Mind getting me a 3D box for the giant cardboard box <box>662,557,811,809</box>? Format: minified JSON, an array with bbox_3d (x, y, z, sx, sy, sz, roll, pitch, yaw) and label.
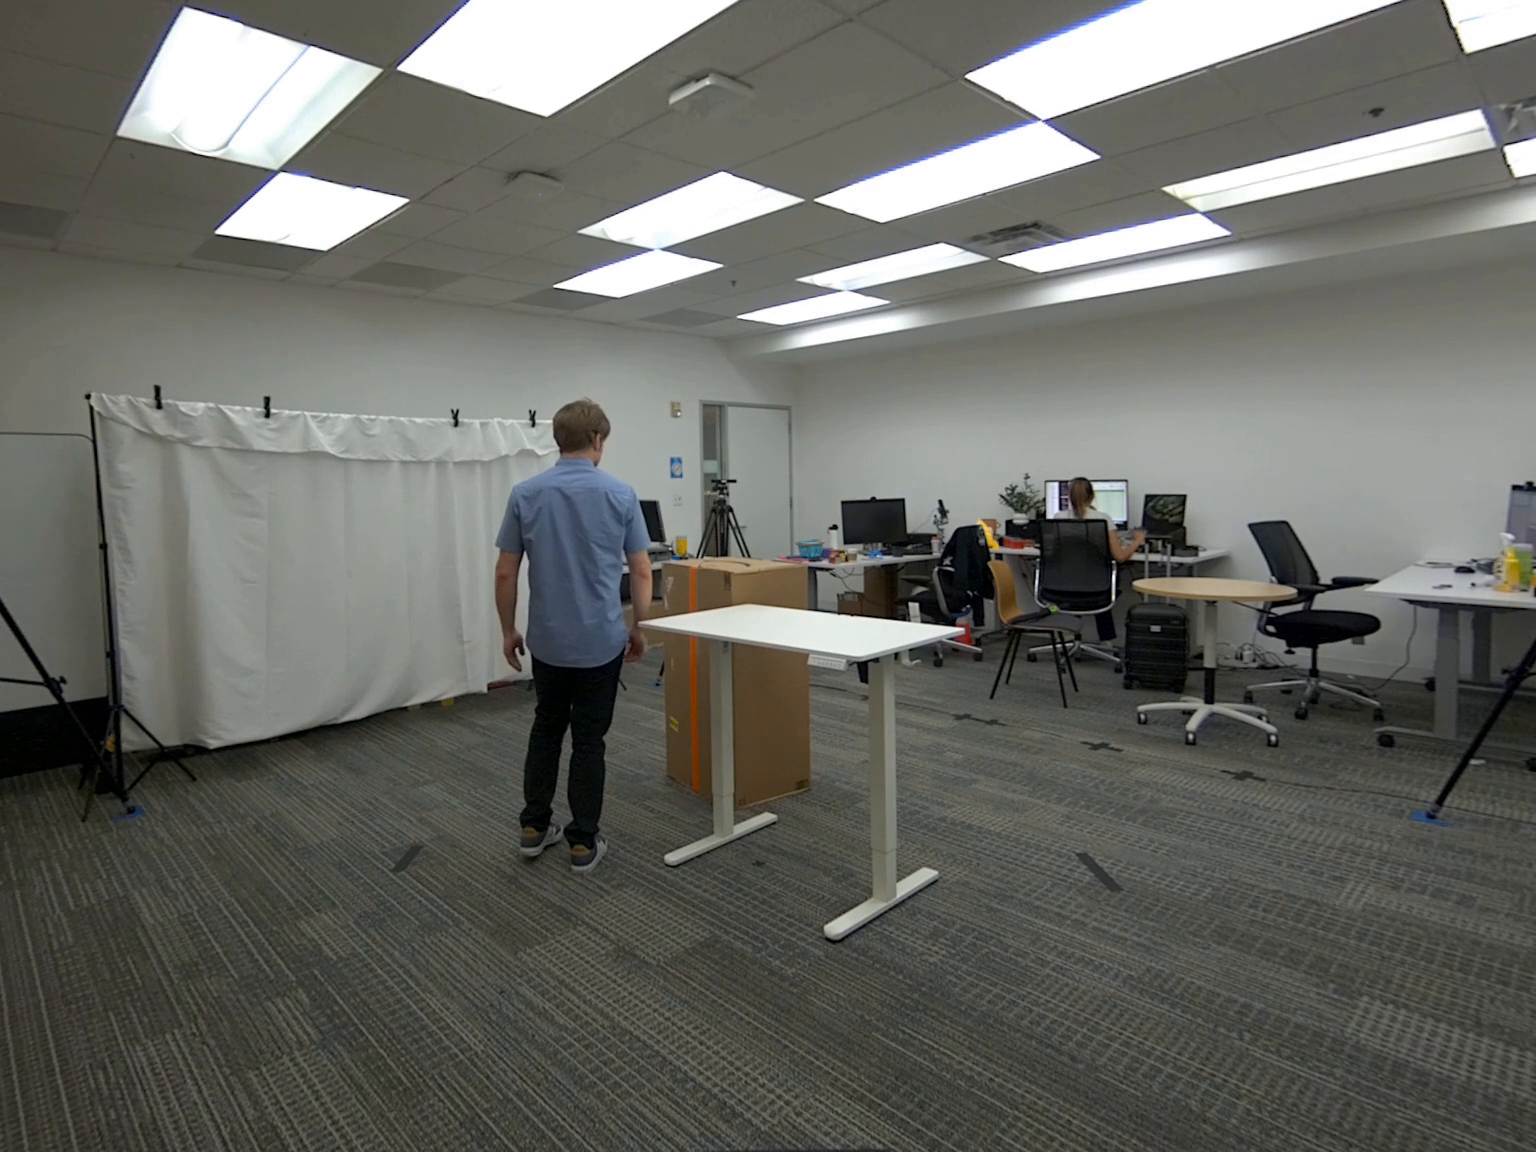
[{"bbox_3d":[-0.156,0.449,3.930,0.415,1.022,0.594,-4,5,-36],"label":"giant cardboard box"}]
